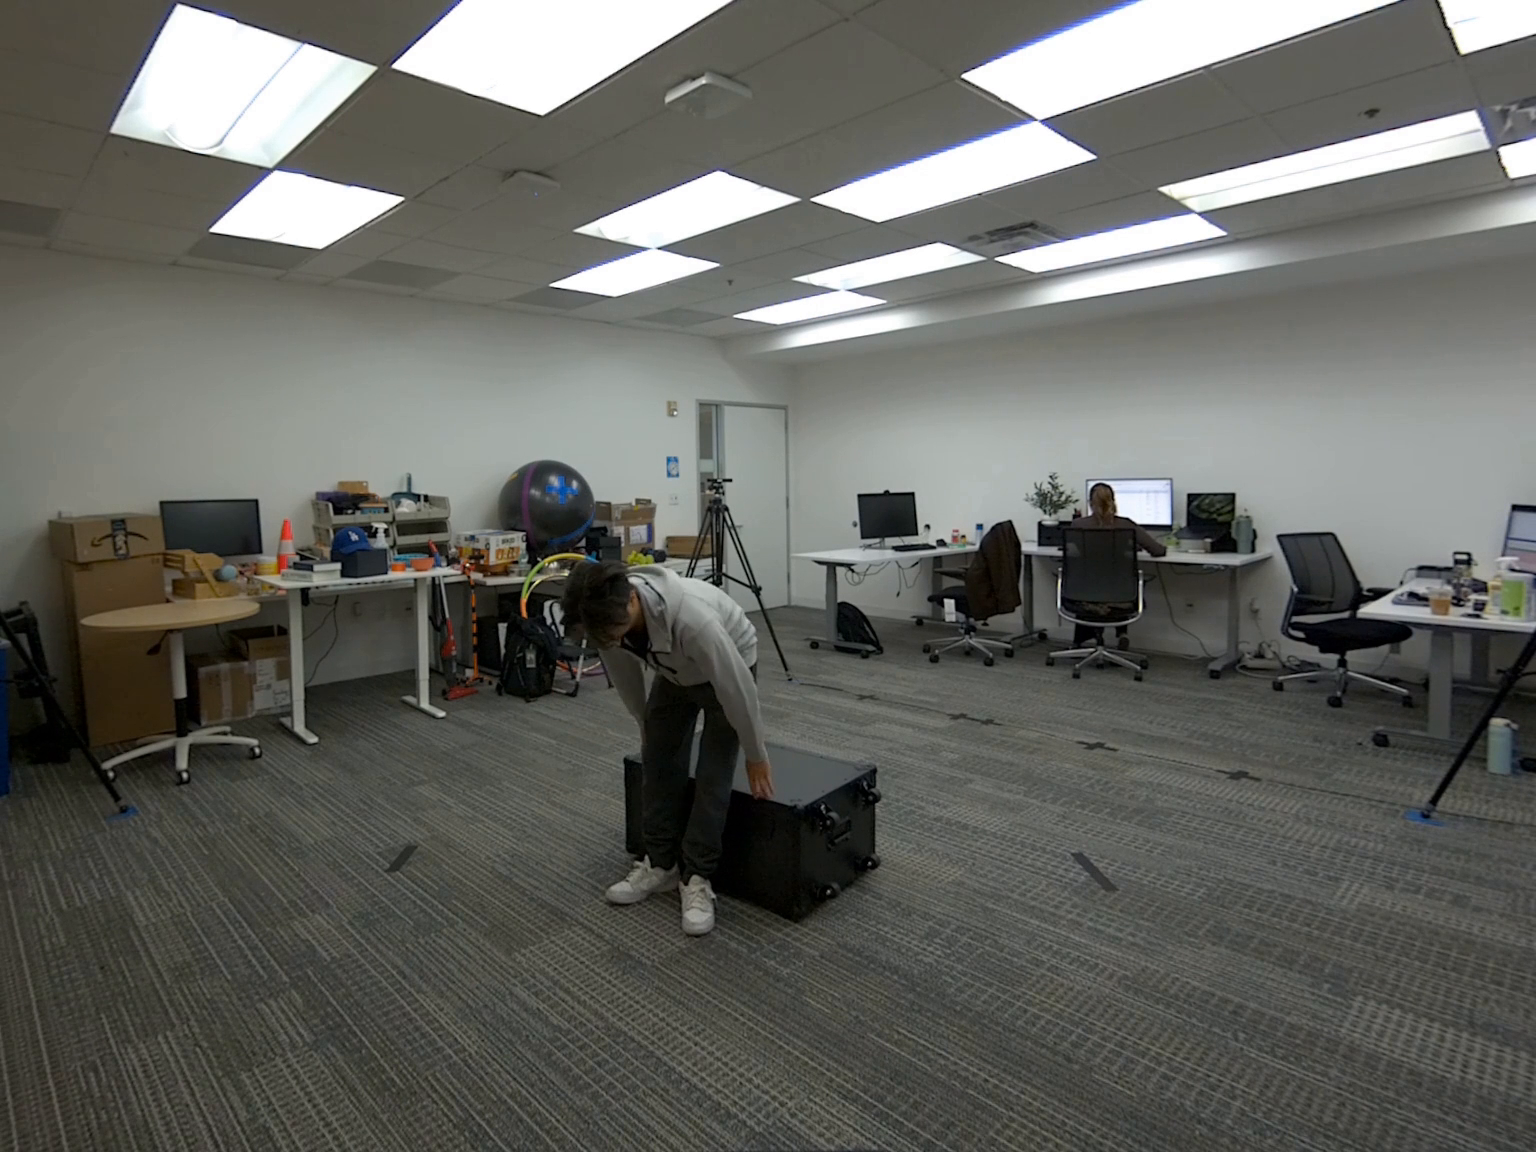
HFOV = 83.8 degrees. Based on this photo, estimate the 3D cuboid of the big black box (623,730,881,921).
[{"bbox_3d":[-0.092,0.854,3.114,0.887,0.394,0.508,4,7,38],"label":"big black box"}]
